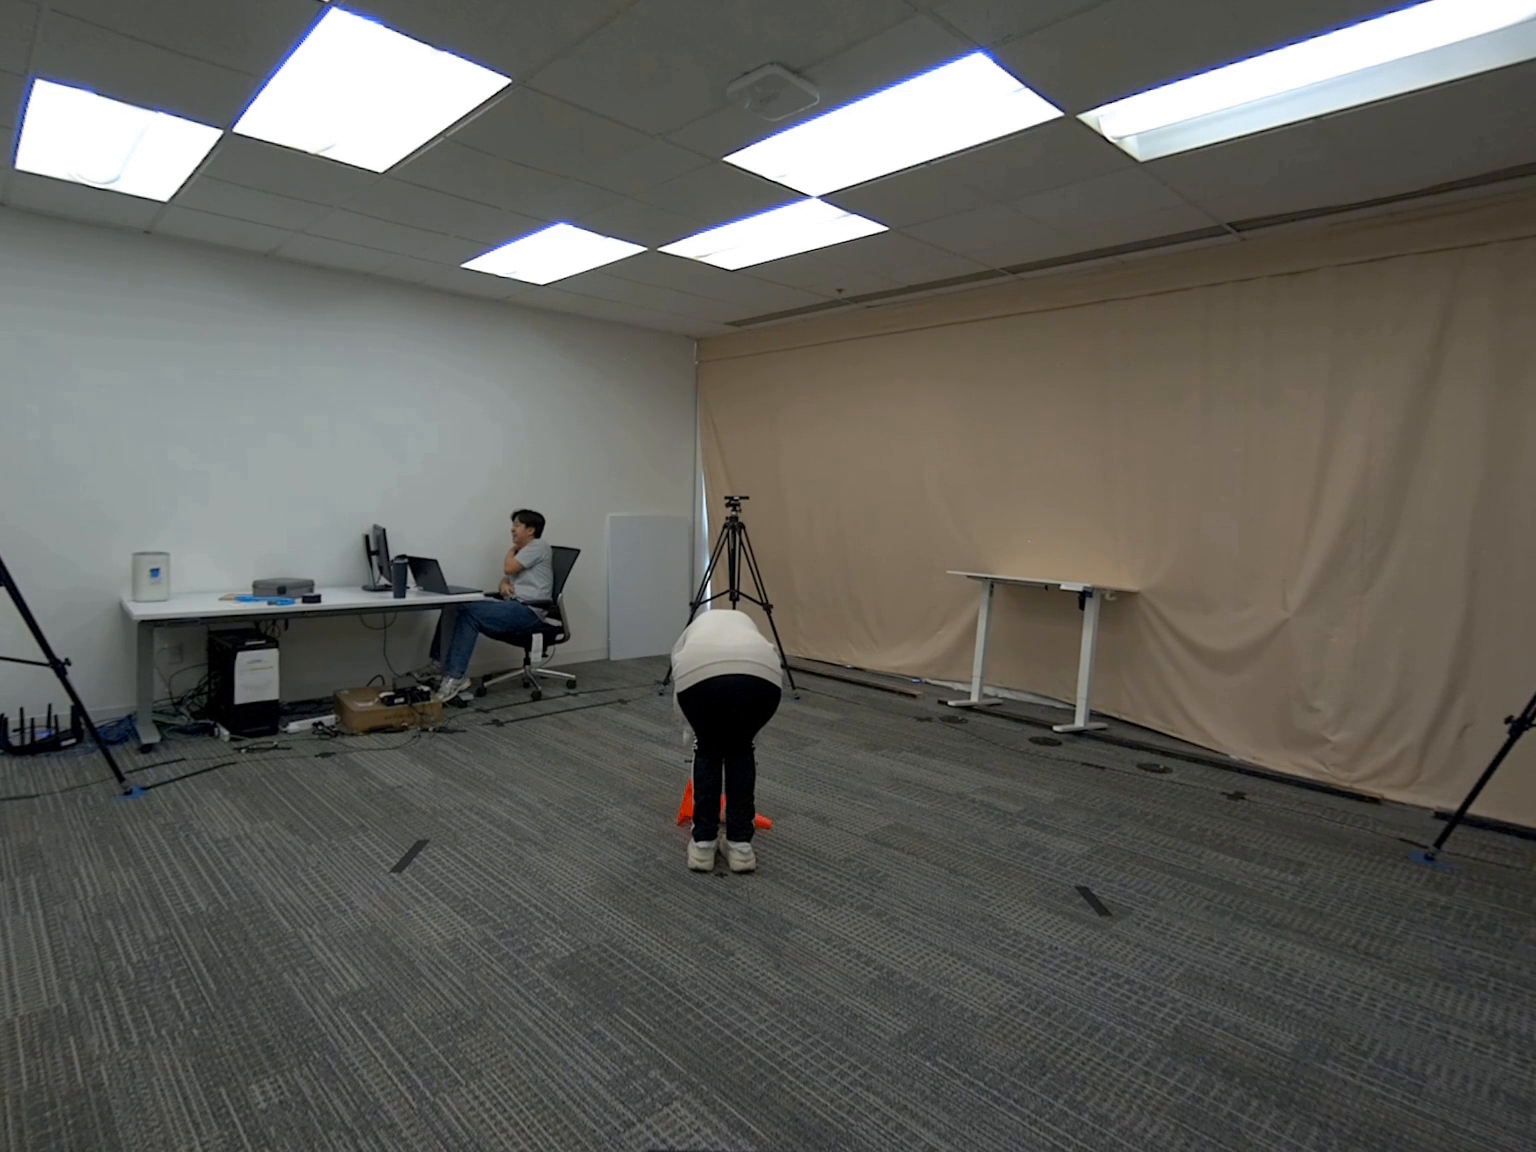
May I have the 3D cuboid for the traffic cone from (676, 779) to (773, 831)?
[{"bbox_3d":[-0.171,1.003,3.605,0.388,0.204,0.202,17,7,11],"label":"traffic cone"}]
